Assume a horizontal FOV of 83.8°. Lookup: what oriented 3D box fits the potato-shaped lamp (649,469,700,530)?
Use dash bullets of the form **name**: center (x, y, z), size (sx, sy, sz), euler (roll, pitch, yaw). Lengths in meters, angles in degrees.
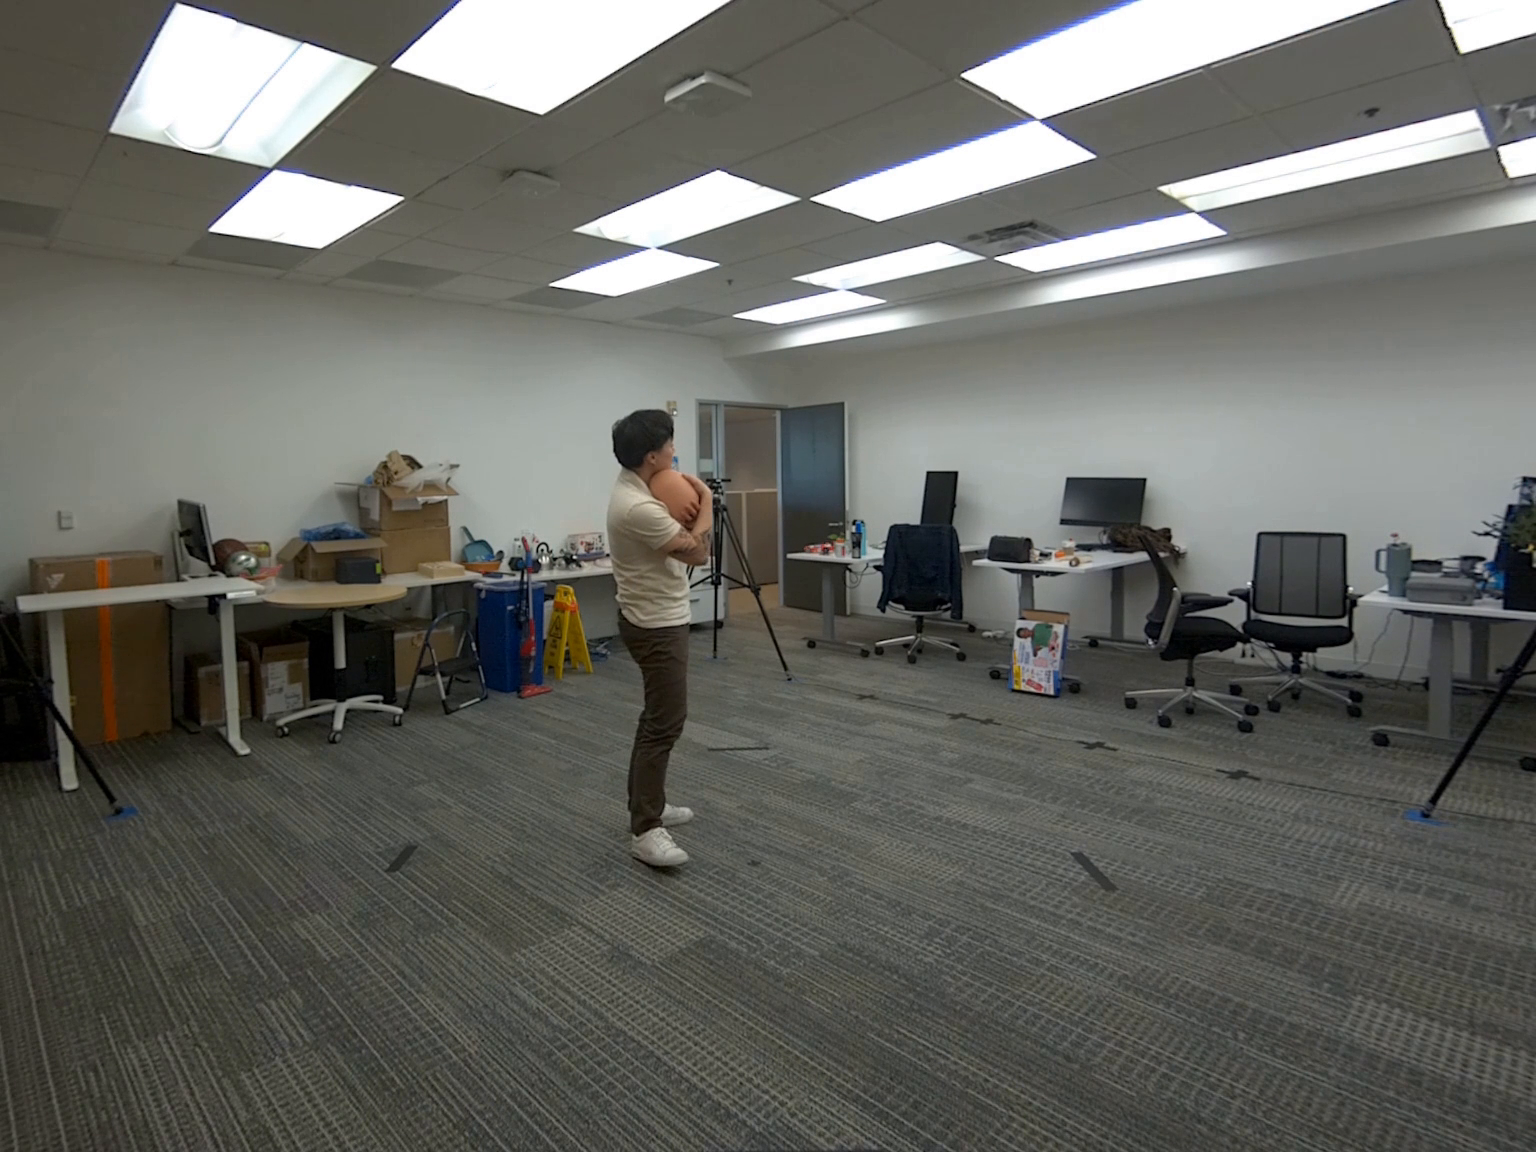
- **potato-shaped lamp**: center (-0.375, -0.301, 3.203), size (0.194, 0.171, 0.168), euler (40, -1, -18)
